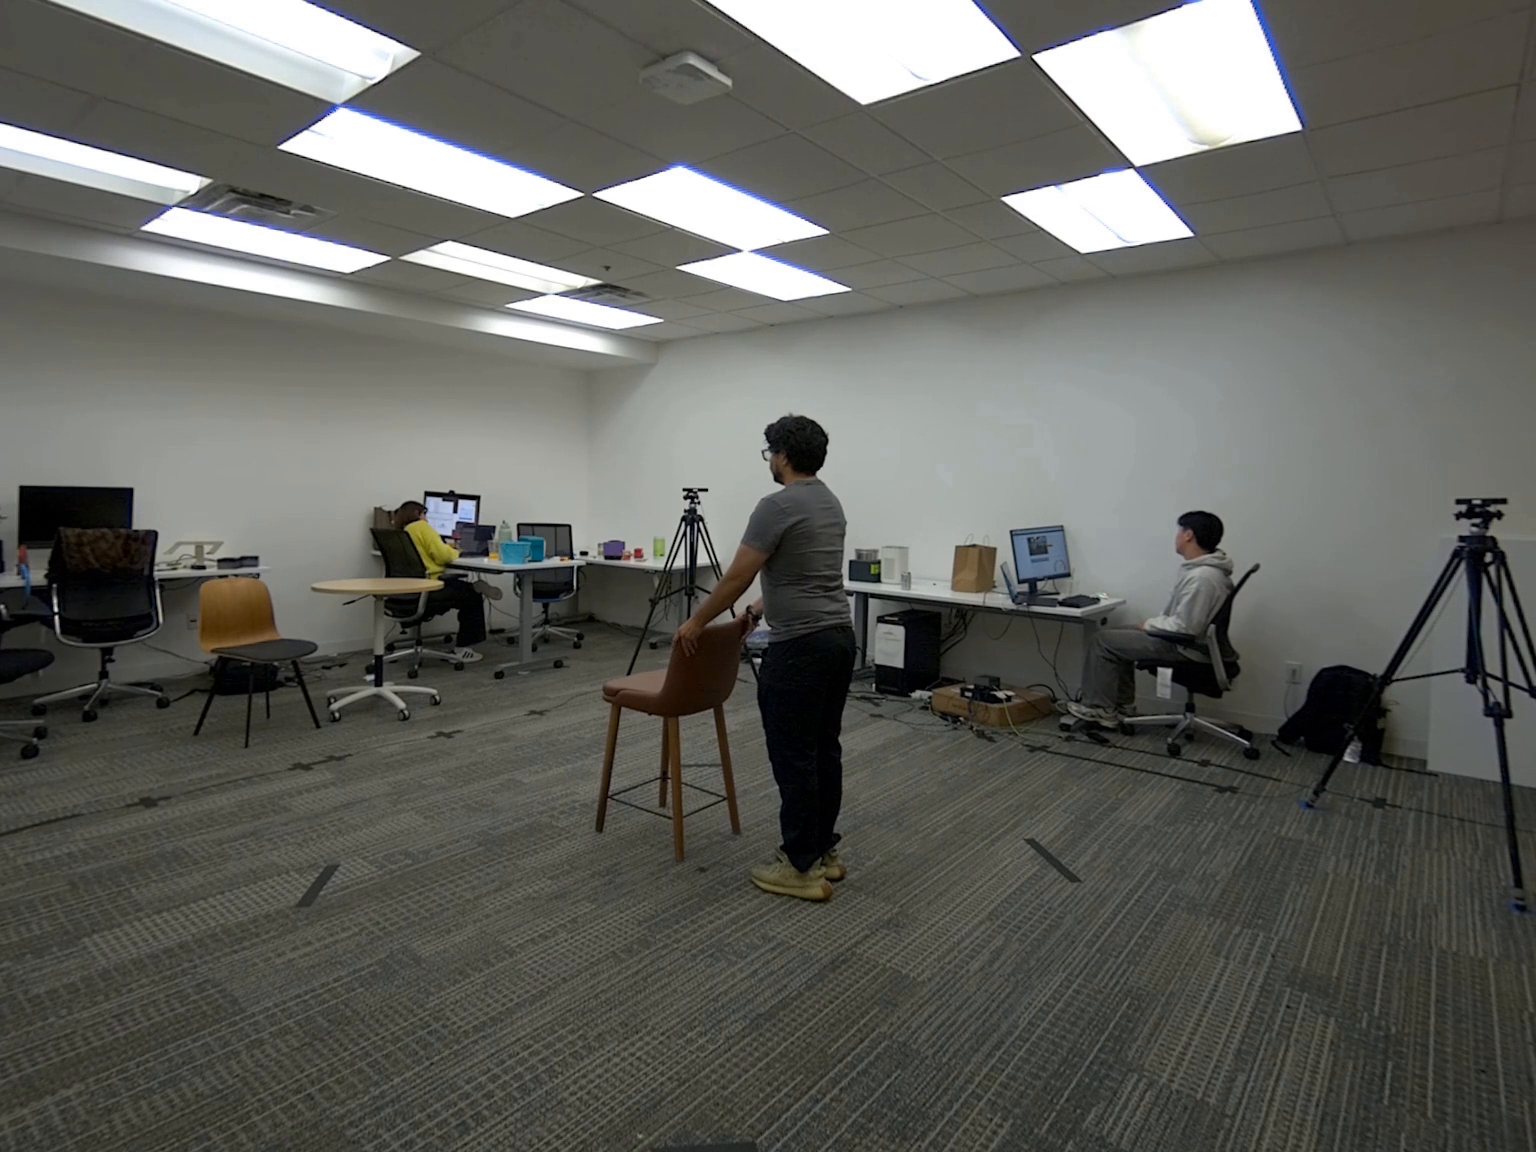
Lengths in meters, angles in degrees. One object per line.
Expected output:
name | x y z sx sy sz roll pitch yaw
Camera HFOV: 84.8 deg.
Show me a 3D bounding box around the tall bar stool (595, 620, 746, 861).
tall bar stool | -0.393 0.597 3.425 0.483 0.886 0.443 6 5 37
